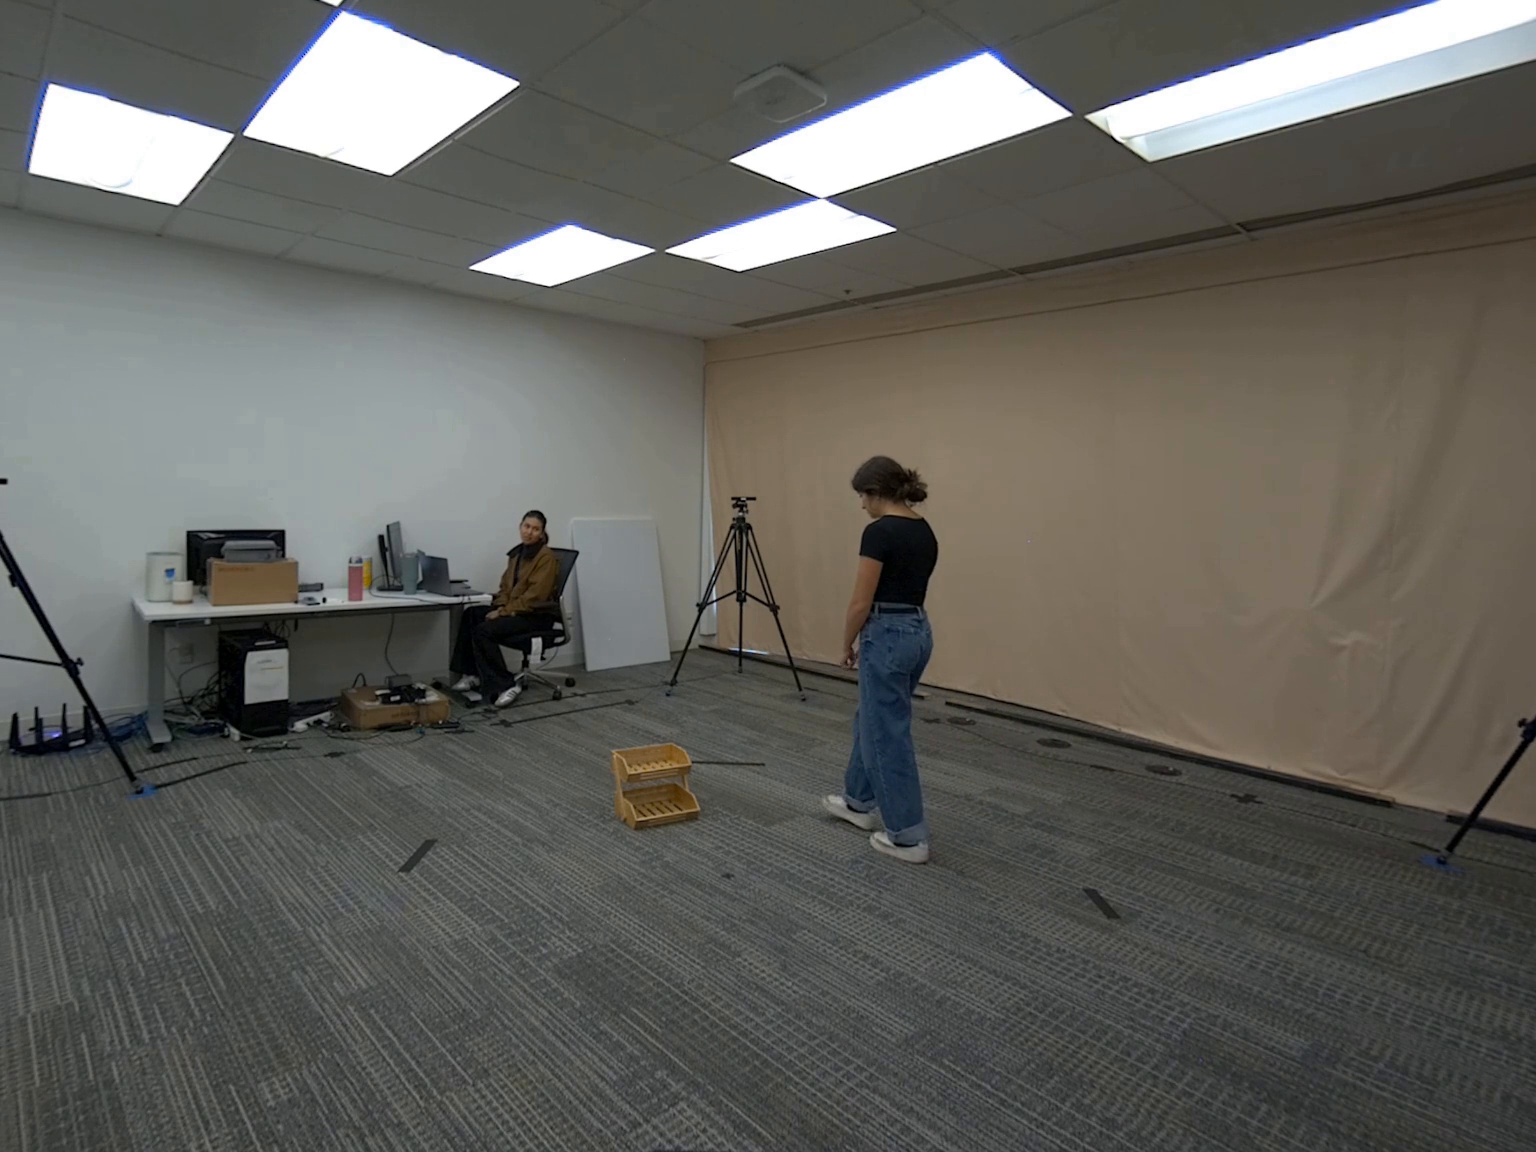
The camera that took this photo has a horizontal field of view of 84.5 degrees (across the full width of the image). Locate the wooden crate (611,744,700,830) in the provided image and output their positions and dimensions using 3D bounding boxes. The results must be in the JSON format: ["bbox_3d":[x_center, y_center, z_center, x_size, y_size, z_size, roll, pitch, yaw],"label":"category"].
[{"bbox_3d":[-0.500,0.907,3.694,0.318,0.273,0.309,-1,4,-31],"label":"wooden crate"}]
